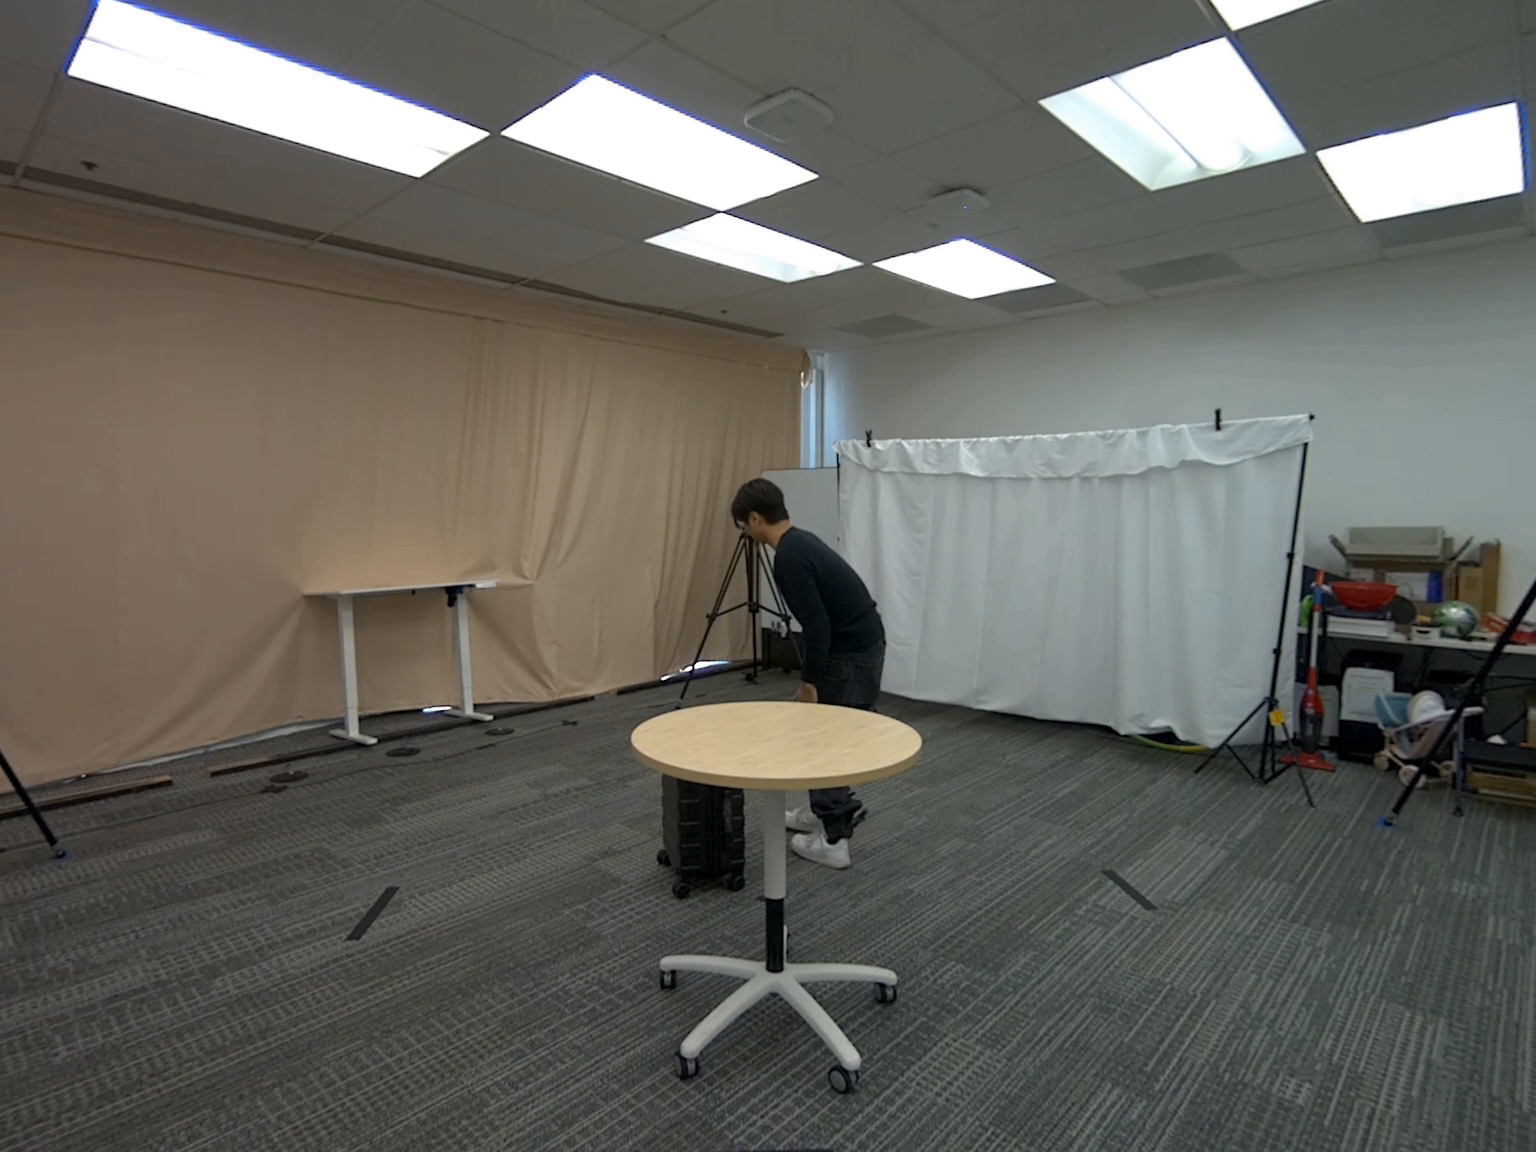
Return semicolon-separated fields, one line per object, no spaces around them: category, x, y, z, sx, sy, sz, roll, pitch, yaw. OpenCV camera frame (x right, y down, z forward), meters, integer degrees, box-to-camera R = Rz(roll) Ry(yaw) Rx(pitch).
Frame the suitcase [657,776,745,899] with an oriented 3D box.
suitcase;-0.241;0.850;3.163;0.244;0.548;0.383;0;3;-18
